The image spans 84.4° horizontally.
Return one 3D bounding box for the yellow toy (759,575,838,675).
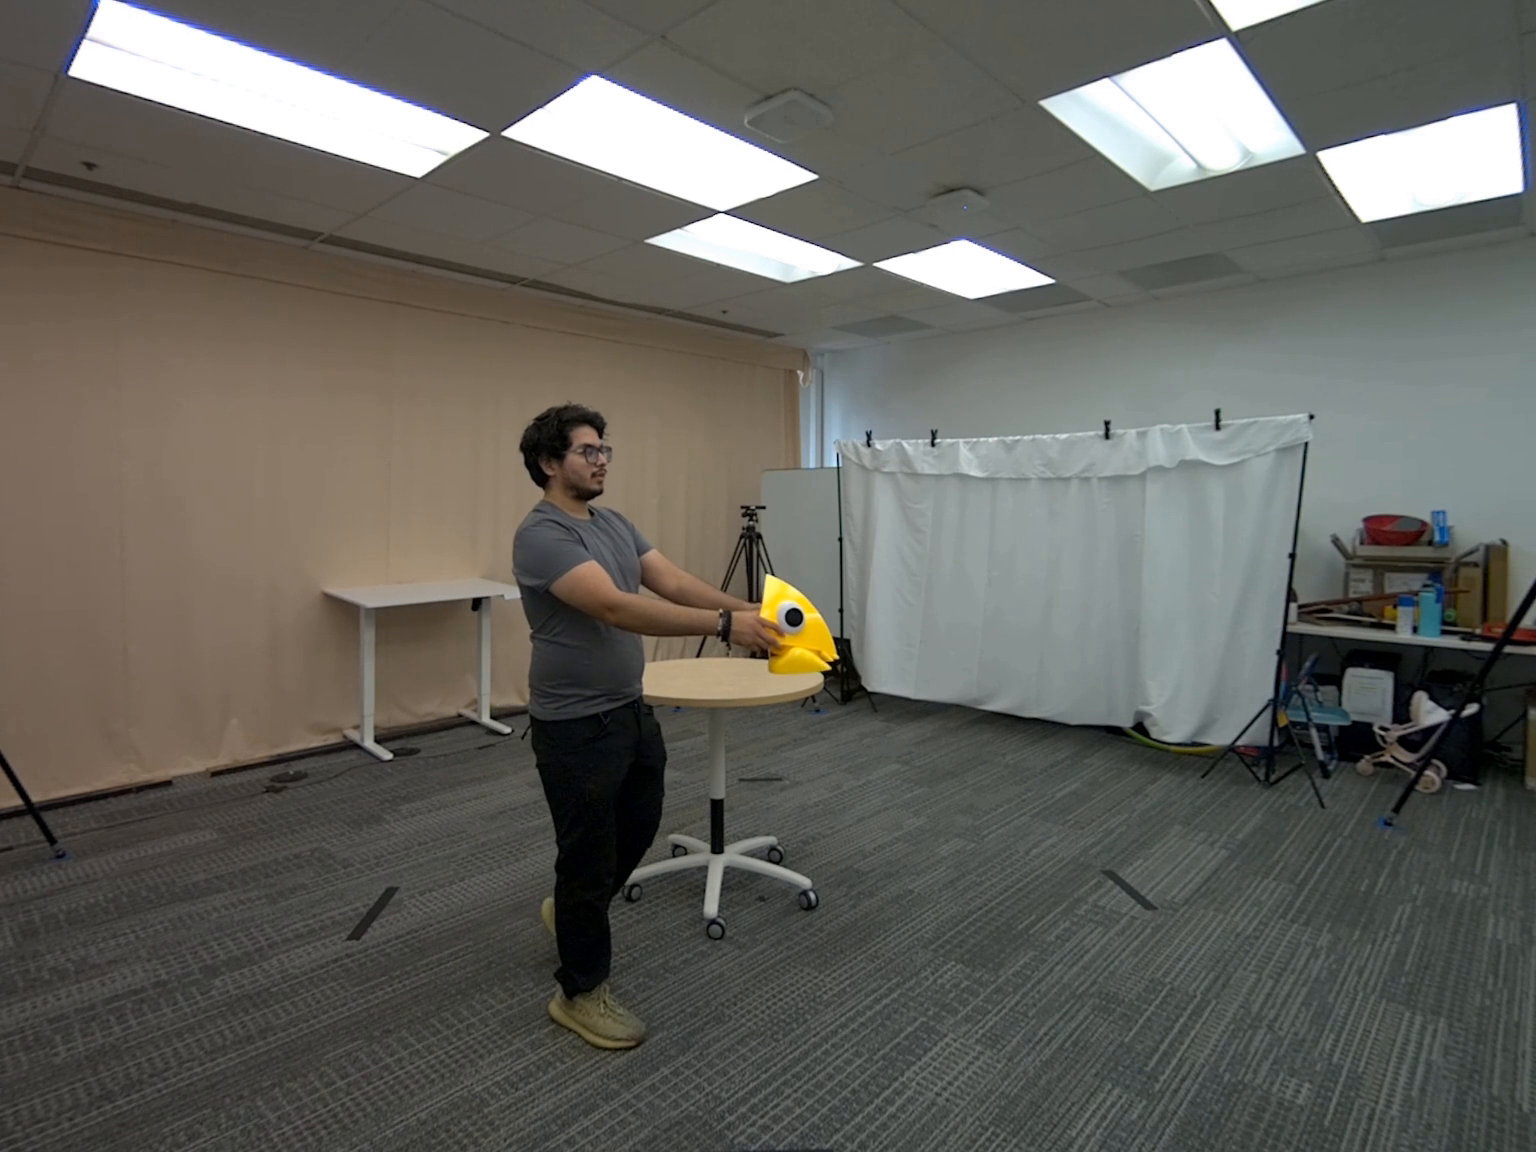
[{"bbox_3d":[0.071,0.108,2.072,0.196,0.230,0.202,-4,4,17],"label":"yellow toy"}]
